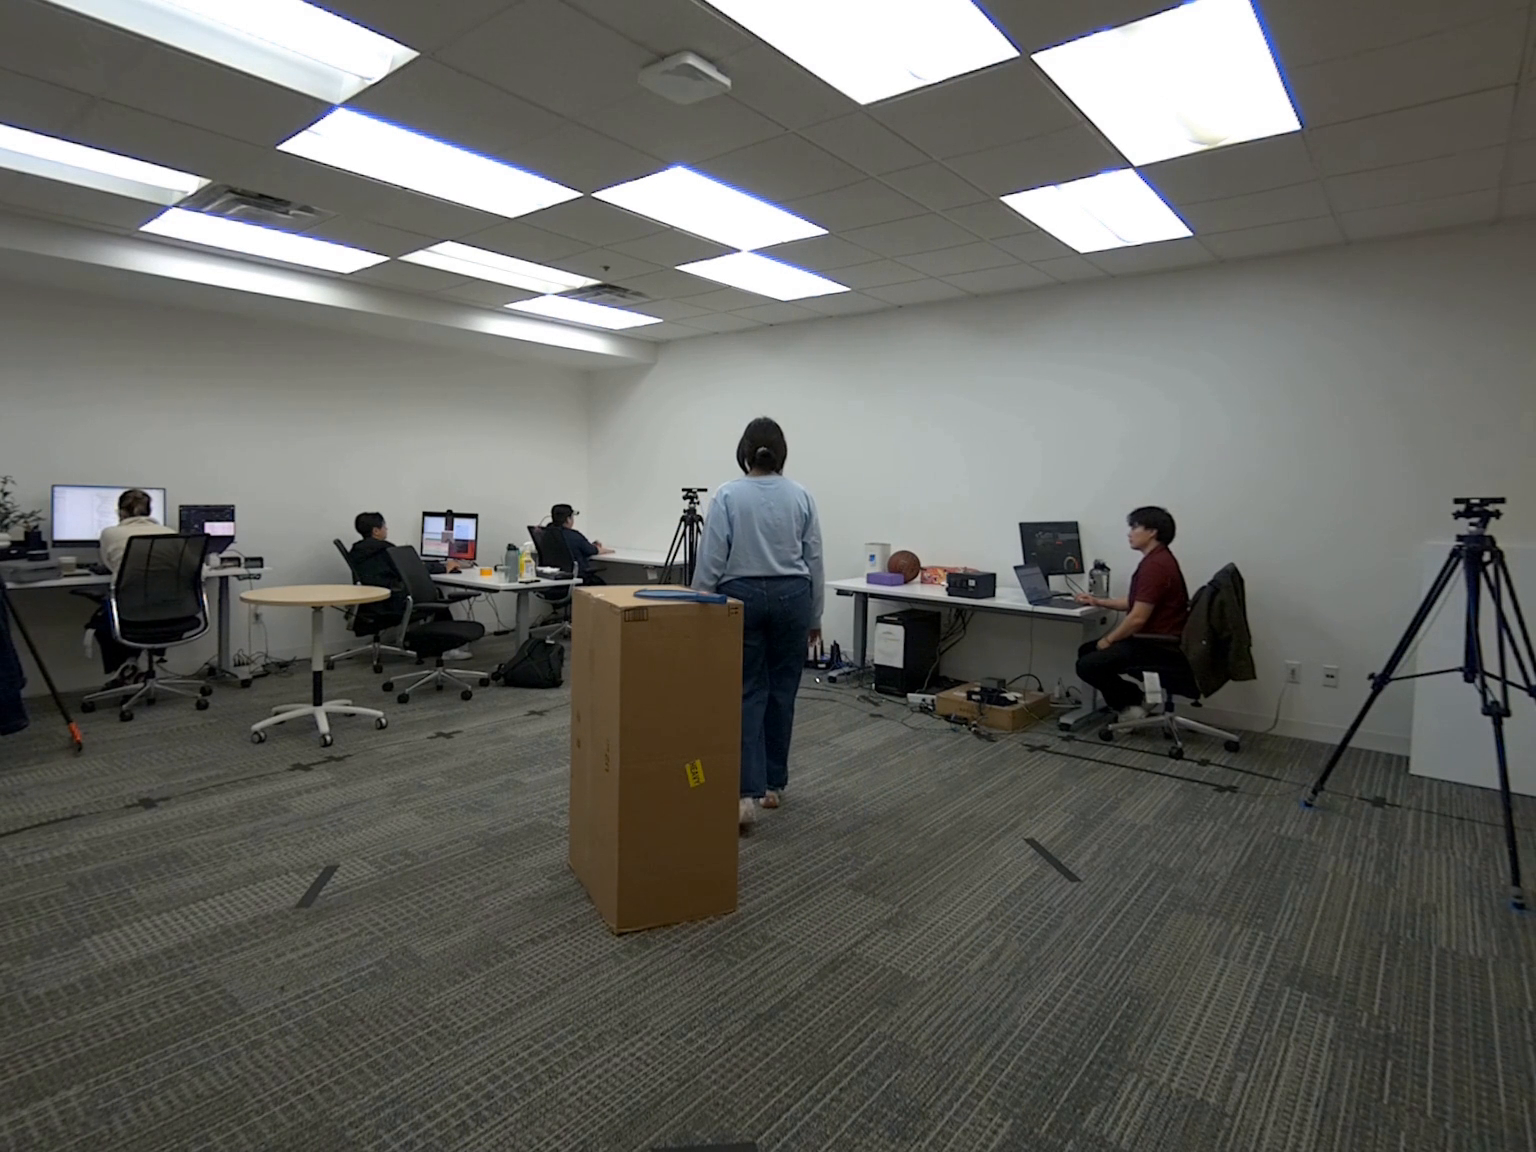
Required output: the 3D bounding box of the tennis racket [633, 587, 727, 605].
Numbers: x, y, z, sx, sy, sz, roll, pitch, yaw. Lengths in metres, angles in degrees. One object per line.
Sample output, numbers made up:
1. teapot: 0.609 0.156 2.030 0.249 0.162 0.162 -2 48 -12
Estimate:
1. tennis racket: -0.291 0.062 2.810 0.207 0.032 0.447 -5 5 -44
